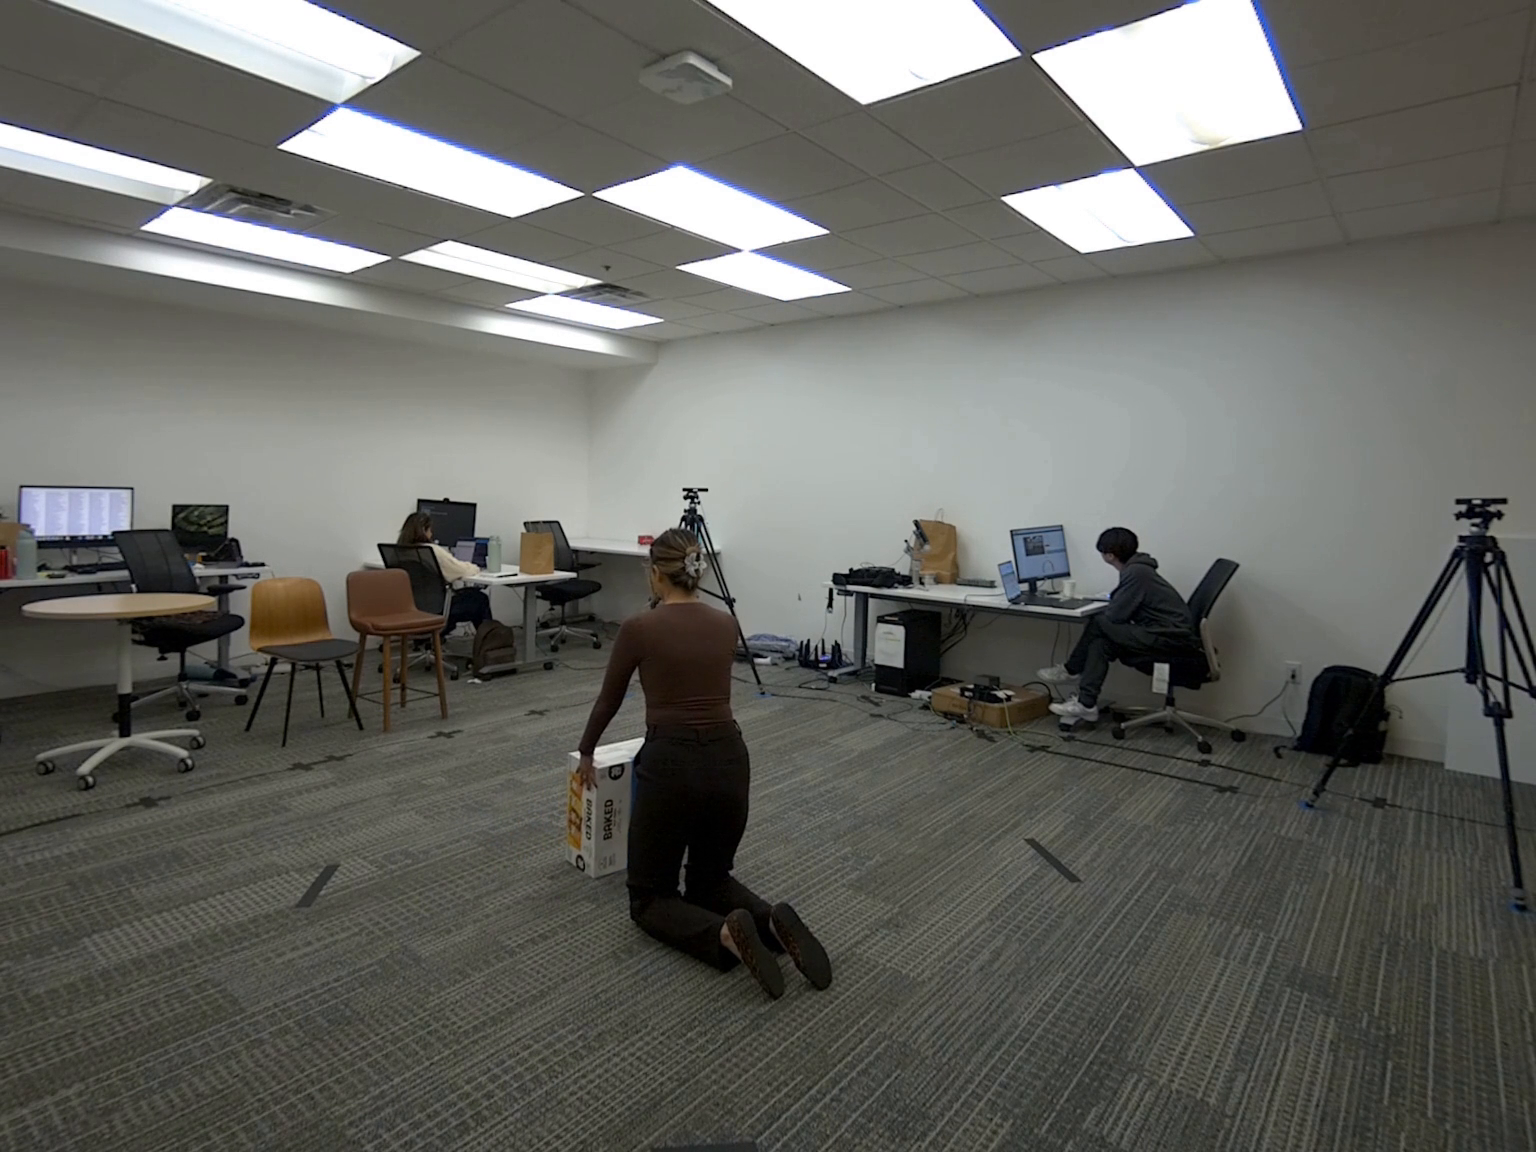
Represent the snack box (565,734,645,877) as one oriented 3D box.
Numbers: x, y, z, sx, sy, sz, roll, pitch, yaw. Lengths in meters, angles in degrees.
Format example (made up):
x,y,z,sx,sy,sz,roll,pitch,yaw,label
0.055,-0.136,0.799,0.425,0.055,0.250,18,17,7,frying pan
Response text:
x,y,z,sx,sy,sz,roll,pitch,yaw,label
-0.565,0.852,3.180,0.330,0.404,0.213,-2,6,-42,snack box
